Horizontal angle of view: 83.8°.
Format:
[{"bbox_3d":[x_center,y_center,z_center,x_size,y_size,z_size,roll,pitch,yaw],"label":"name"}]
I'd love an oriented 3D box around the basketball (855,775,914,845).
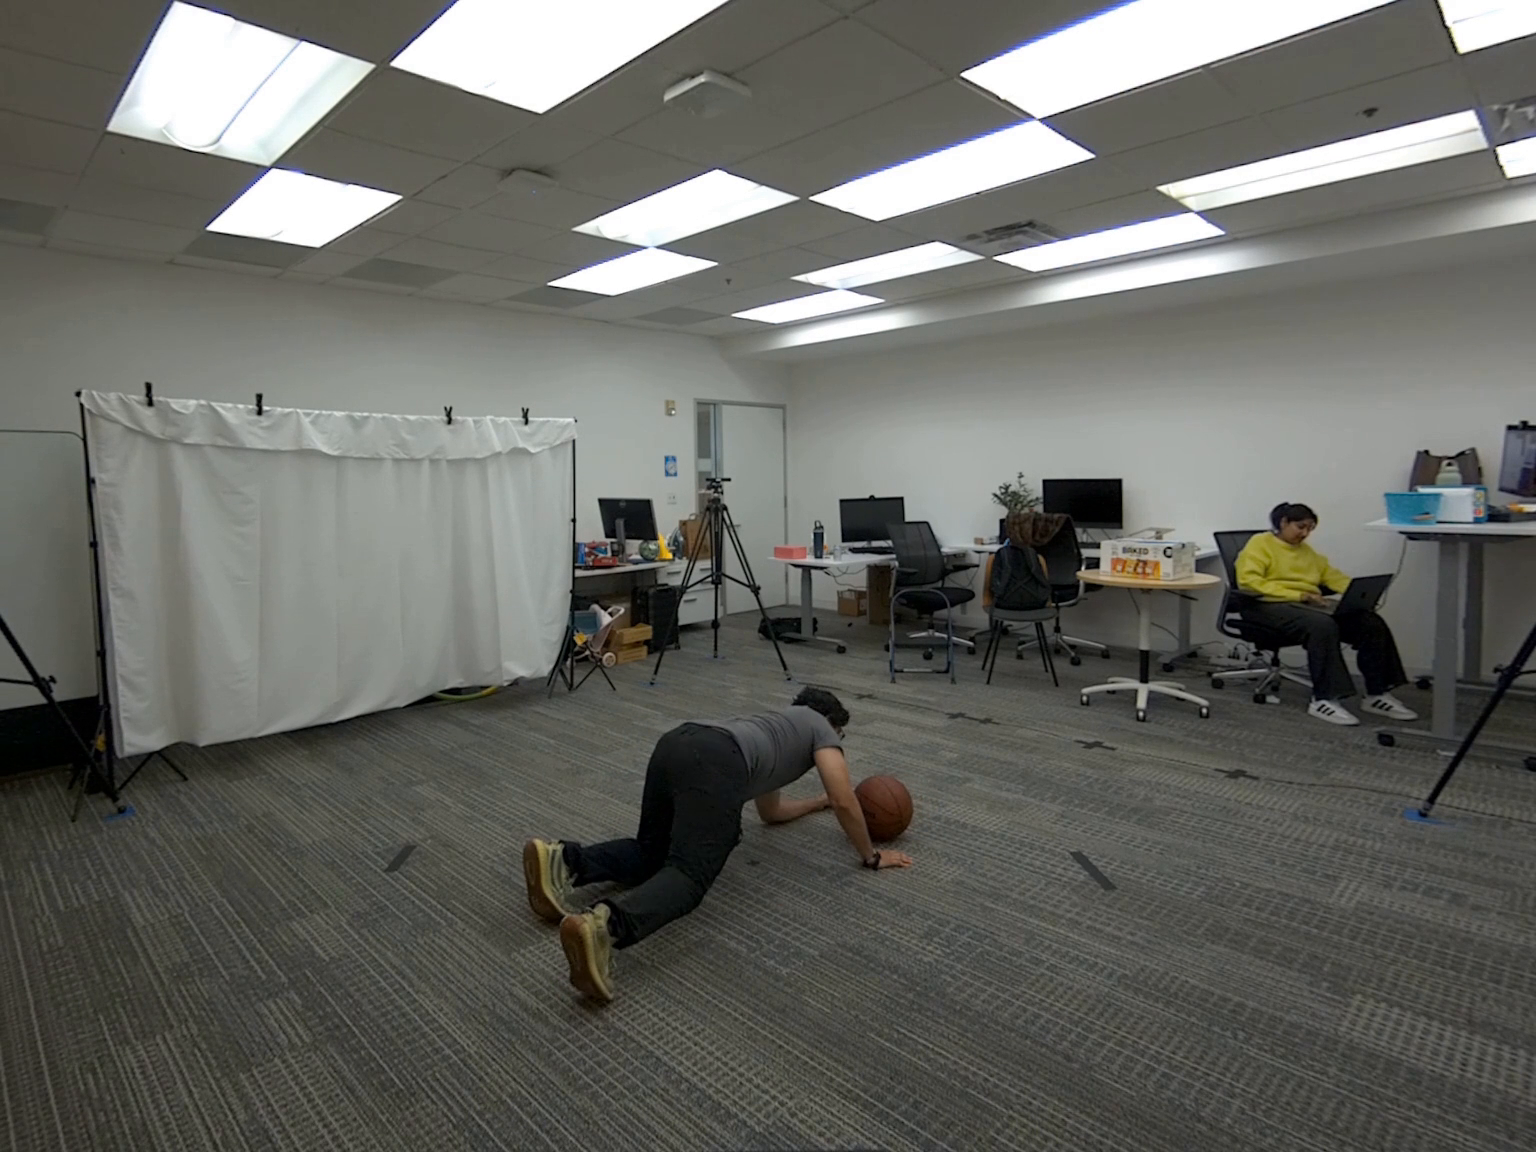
[{"bbox_3d":[0.438,0.886,3.299,0.236,0.235,0.237,-1,5,-2],"label":"basketball"}]
